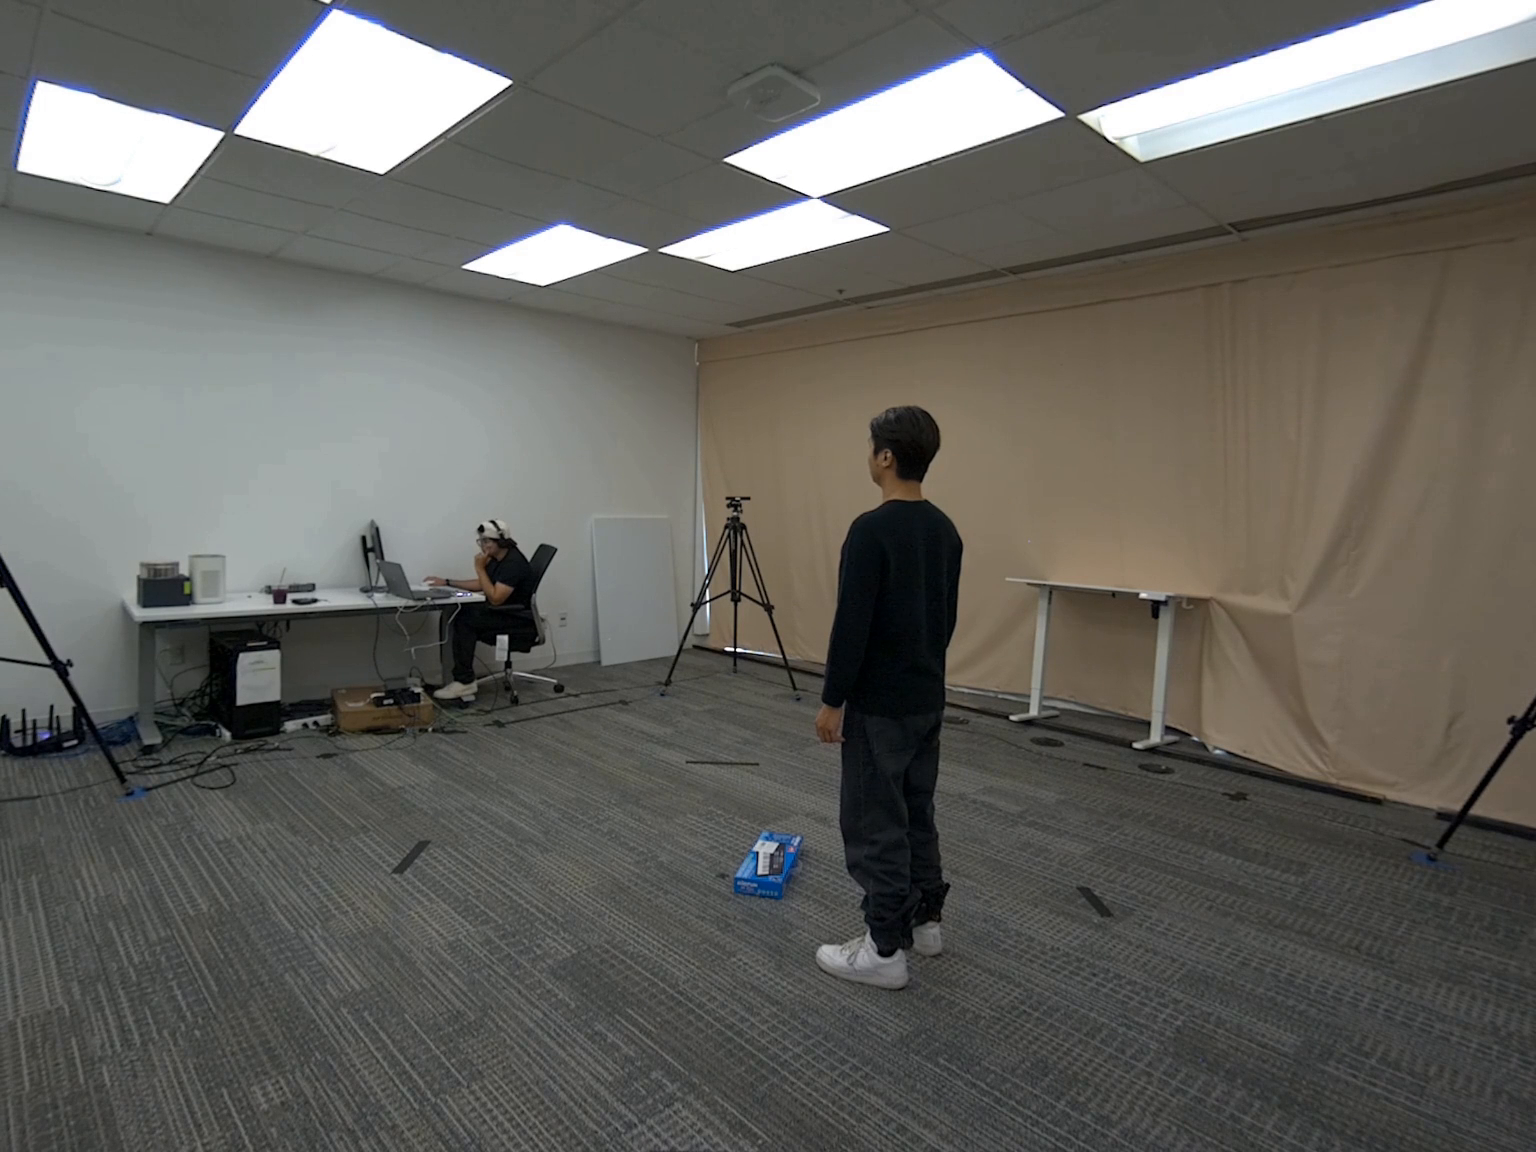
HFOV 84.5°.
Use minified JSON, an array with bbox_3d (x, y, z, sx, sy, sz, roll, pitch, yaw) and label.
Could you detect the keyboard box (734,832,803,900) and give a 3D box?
[{"bbox_3d":[0.002,1.075,3.151,0.178,0.059,0.433,2,5,13],"label":"keyboard box"}]
